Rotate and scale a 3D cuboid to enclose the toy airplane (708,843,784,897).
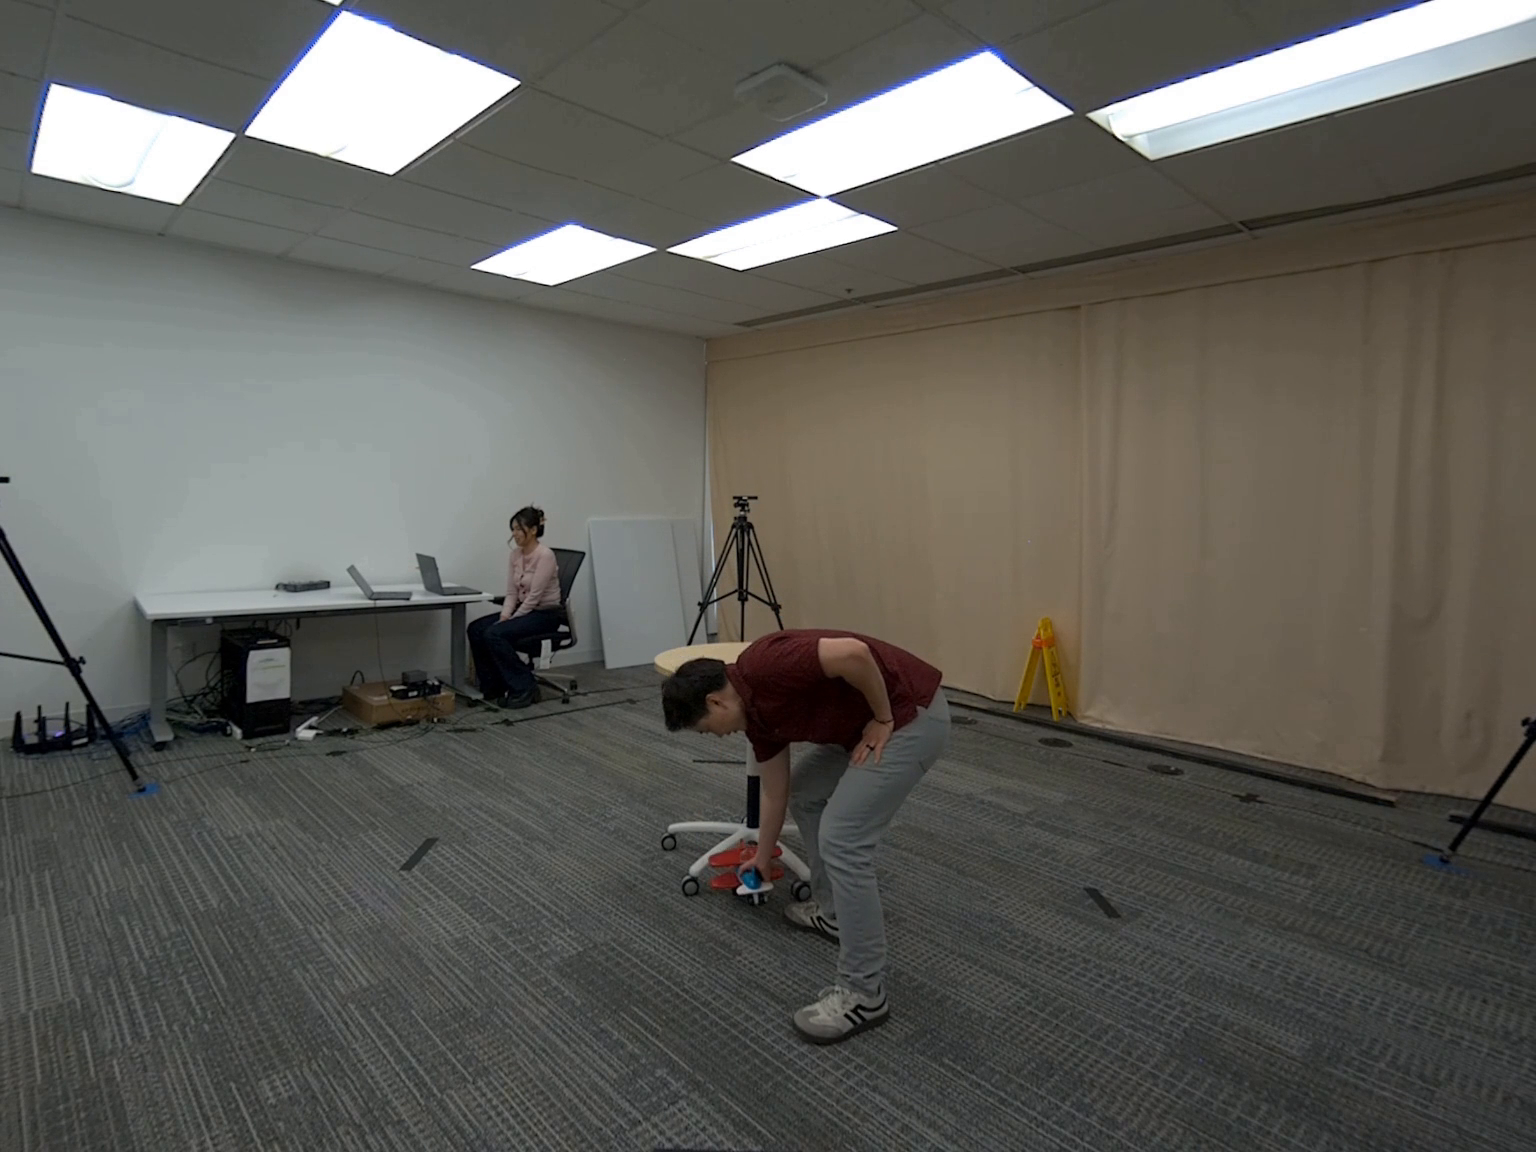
[{"bbox_3d":[-0.062,1.013,2.854,0.245,0.157,0.263,-3,-9,-38],"label":"toy airplane"}]
